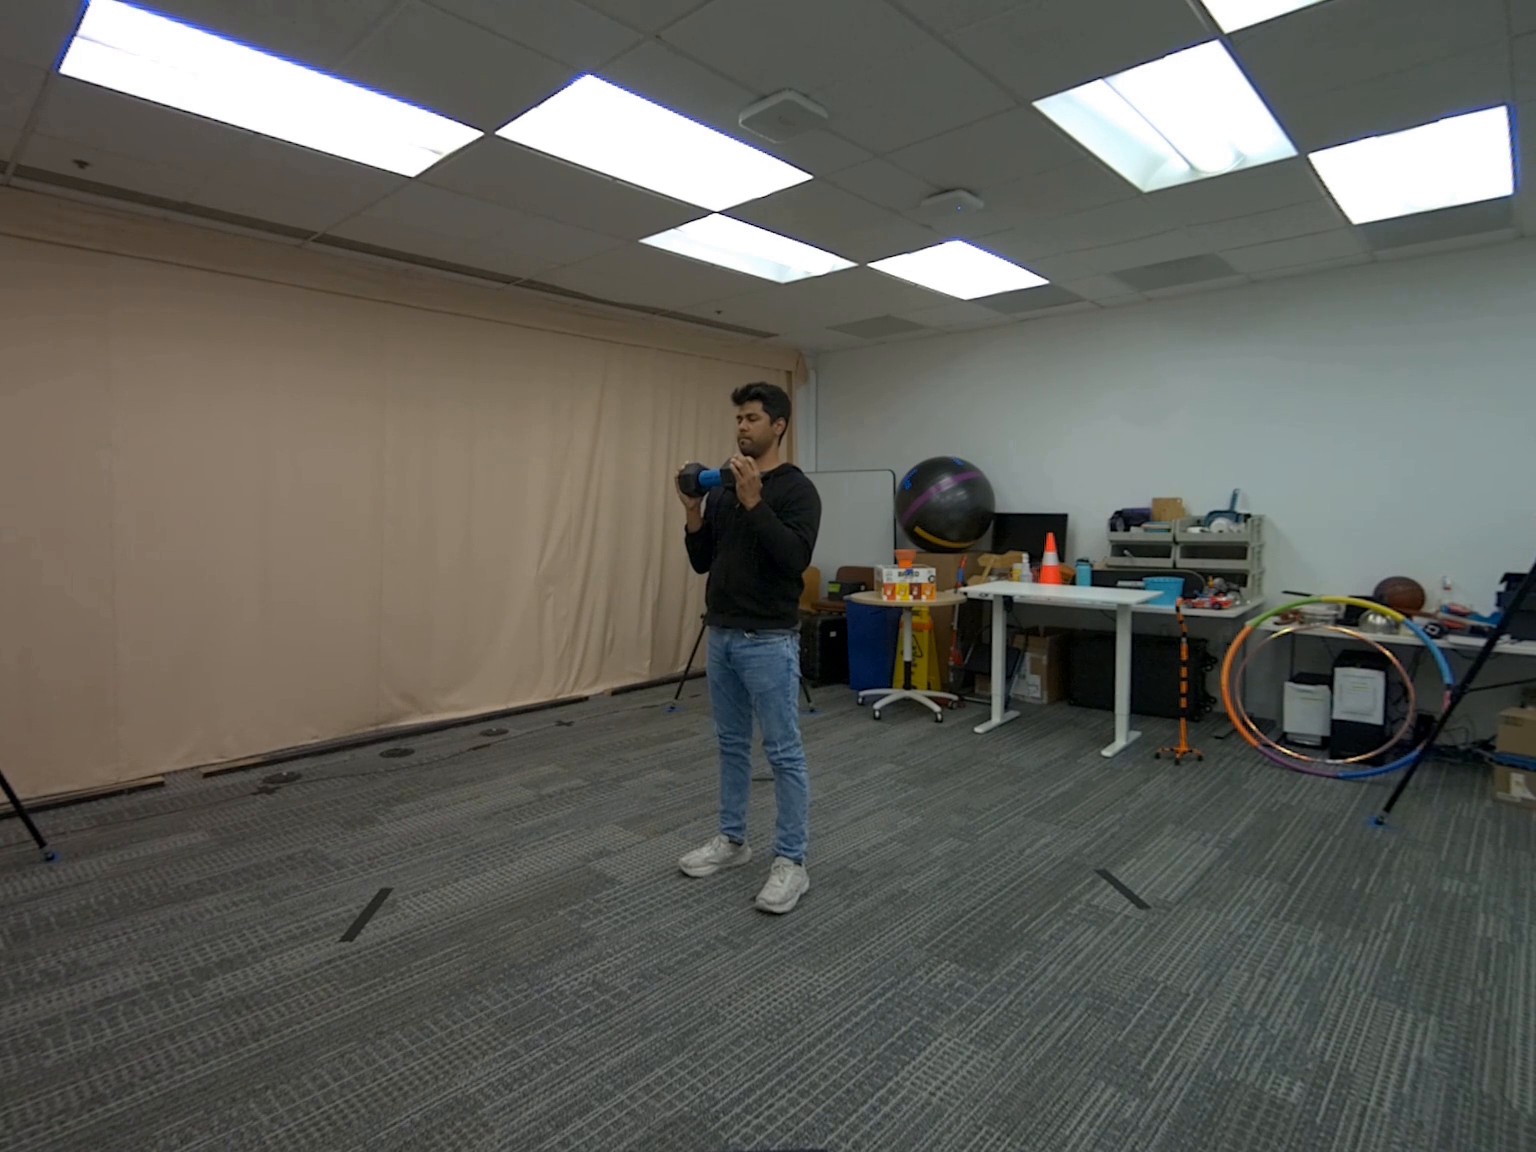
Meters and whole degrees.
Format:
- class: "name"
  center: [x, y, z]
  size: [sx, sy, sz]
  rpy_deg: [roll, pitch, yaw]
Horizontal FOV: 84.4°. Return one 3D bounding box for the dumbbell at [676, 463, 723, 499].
- class: "dumbbell"
  center: [-0.172, -0.340, 2.935]
  size: [0.106, 0.122, 0.303]
  rpy_deg: [-16, 11, -43]
